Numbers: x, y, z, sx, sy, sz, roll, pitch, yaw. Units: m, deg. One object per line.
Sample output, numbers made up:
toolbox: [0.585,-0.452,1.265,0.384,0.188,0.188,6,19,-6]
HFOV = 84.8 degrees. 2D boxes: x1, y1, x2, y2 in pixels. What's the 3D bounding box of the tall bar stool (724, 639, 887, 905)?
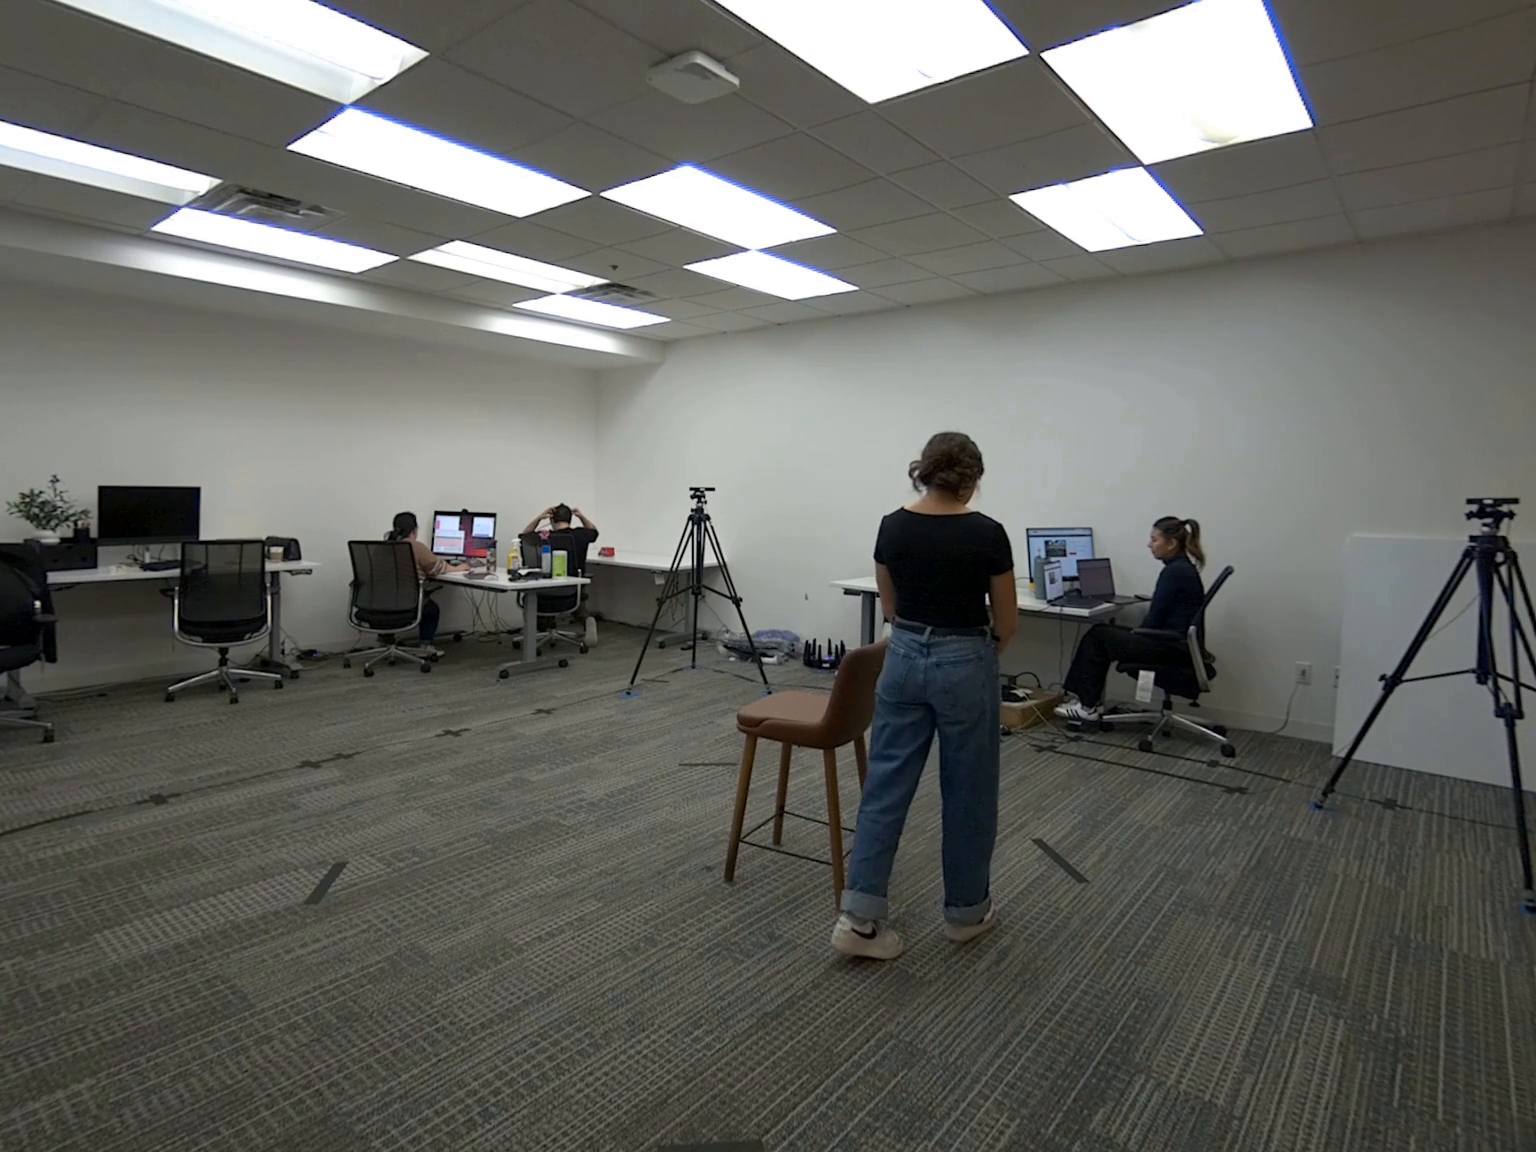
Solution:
tall bar stool: [0.145,0.645,3.048,0.482,0.886,0.444,6,5,30]
